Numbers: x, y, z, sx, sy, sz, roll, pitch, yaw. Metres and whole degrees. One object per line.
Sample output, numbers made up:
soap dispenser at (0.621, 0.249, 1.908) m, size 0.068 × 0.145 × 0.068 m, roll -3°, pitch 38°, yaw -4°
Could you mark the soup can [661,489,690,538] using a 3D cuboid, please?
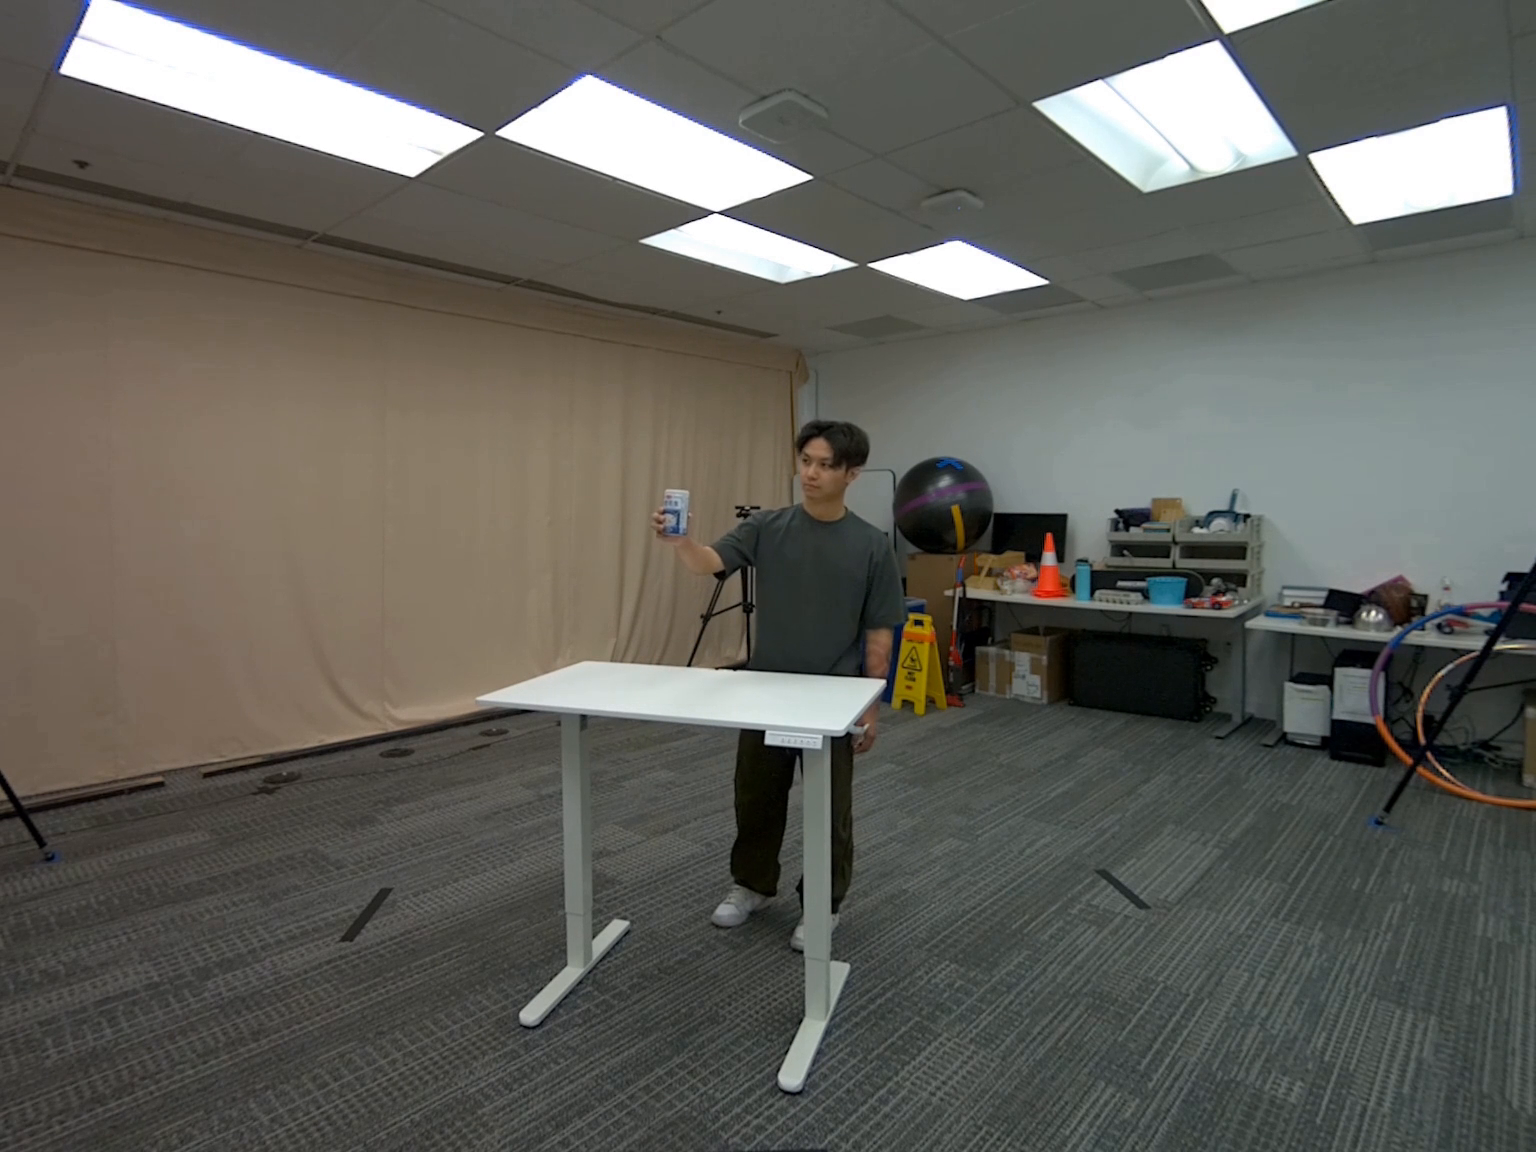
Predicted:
soup can at (-0.248, -0.168, 2.227) m, size 0.067 × 0.121 × 0.067 m, roll 5°, pitch 4°, yaw -2°
